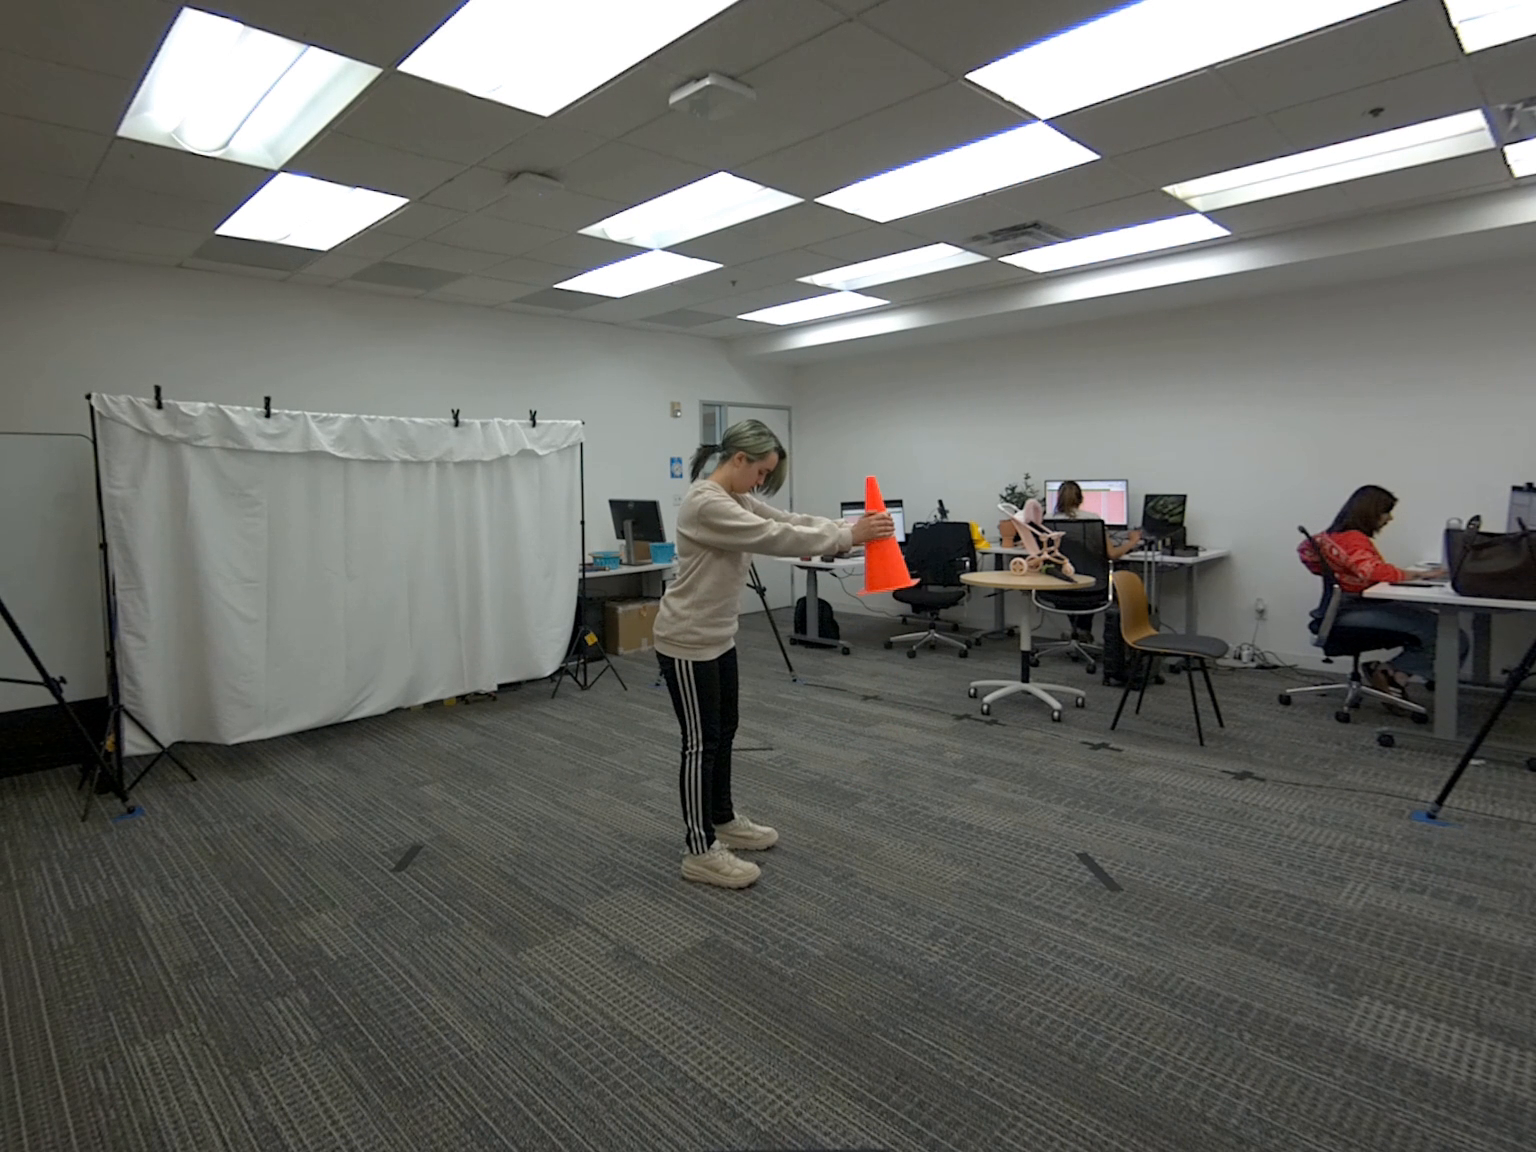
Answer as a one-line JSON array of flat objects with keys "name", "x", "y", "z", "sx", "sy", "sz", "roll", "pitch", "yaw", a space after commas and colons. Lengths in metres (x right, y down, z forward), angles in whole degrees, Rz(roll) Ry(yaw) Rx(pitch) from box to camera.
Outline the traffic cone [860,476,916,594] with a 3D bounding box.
[{"name": "traffic cone", "x": 0.372, "y": -0.143, "z": 2.898, "sx": 0.206, "sy": 0.383, "sz": 0.202, "roll": -8, "pitch": 1, "yaw": 18}]
